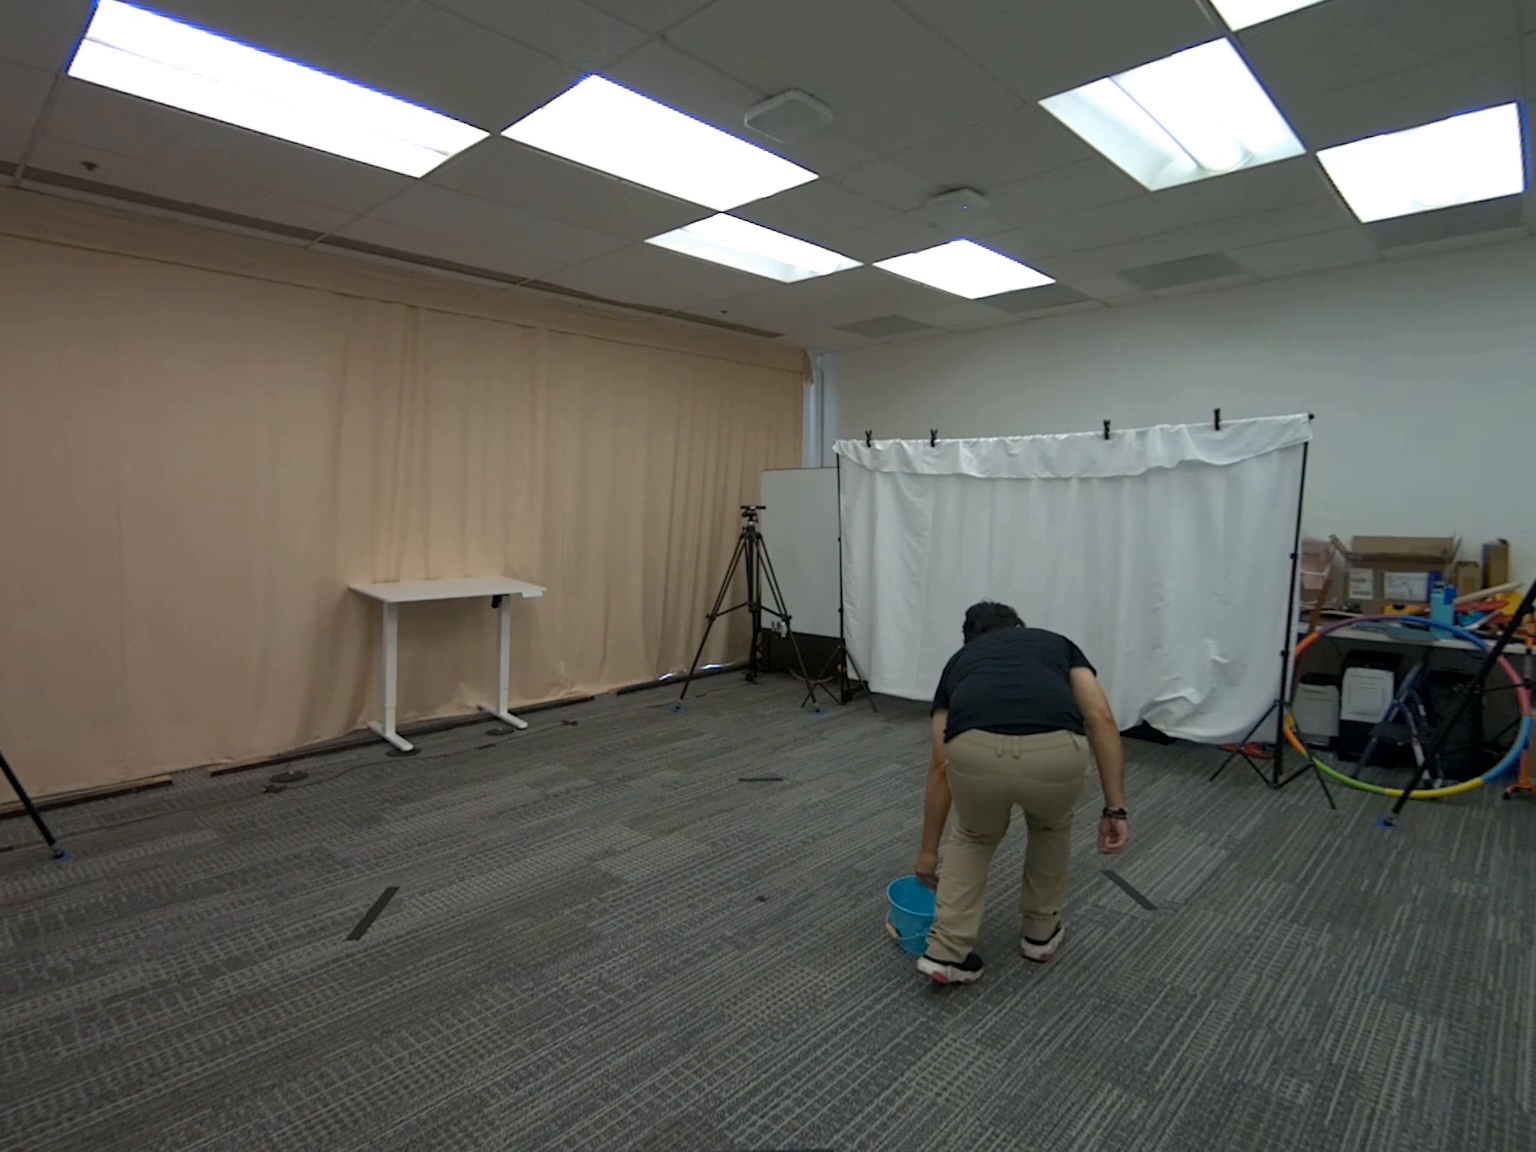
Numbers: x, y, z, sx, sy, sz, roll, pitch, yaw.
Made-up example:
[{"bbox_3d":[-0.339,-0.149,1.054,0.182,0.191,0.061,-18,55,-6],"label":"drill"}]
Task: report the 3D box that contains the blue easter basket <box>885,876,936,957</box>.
[{"bbox_3d":[0.499,1.085,2.675,0.243,0.155,0.245,-2,10,-2],"label":"blue easter basket"}]
